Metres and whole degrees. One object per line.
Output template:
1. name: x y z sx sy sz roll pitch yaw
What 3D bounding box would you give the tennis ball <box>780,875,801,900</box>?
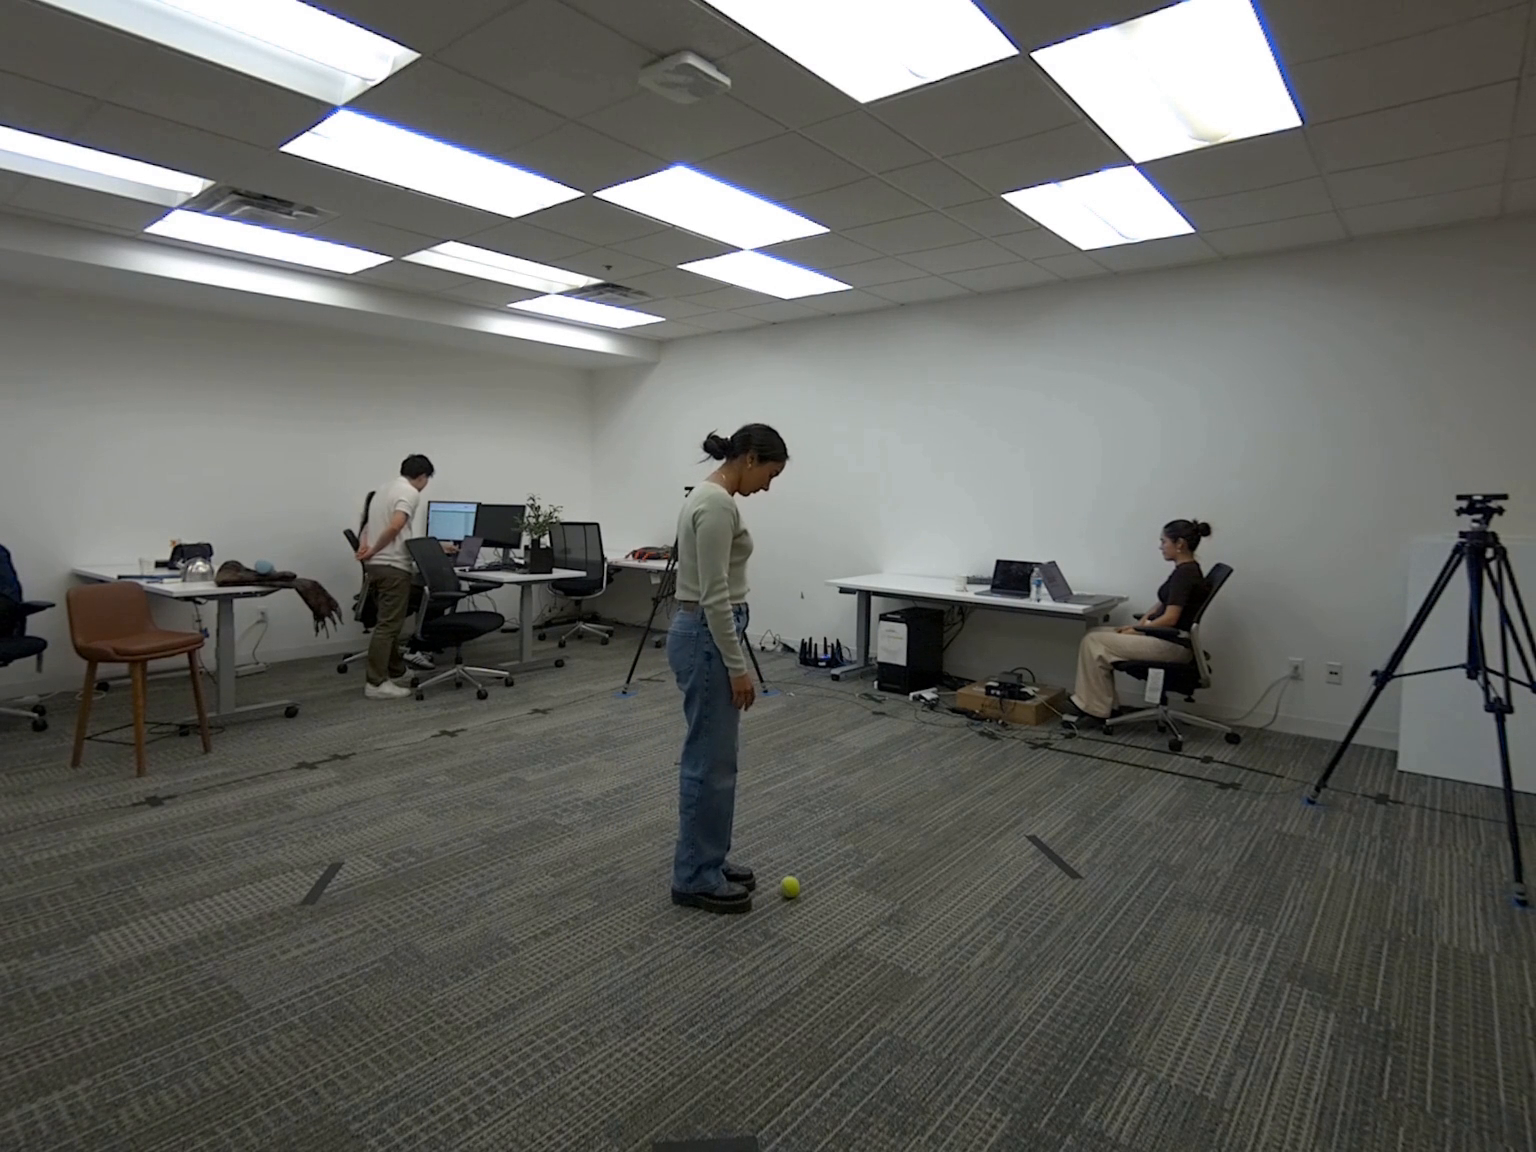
1. tennis ball: 0.064 1.045 2.903 0.066 0.066 0.067 1 4 -2
